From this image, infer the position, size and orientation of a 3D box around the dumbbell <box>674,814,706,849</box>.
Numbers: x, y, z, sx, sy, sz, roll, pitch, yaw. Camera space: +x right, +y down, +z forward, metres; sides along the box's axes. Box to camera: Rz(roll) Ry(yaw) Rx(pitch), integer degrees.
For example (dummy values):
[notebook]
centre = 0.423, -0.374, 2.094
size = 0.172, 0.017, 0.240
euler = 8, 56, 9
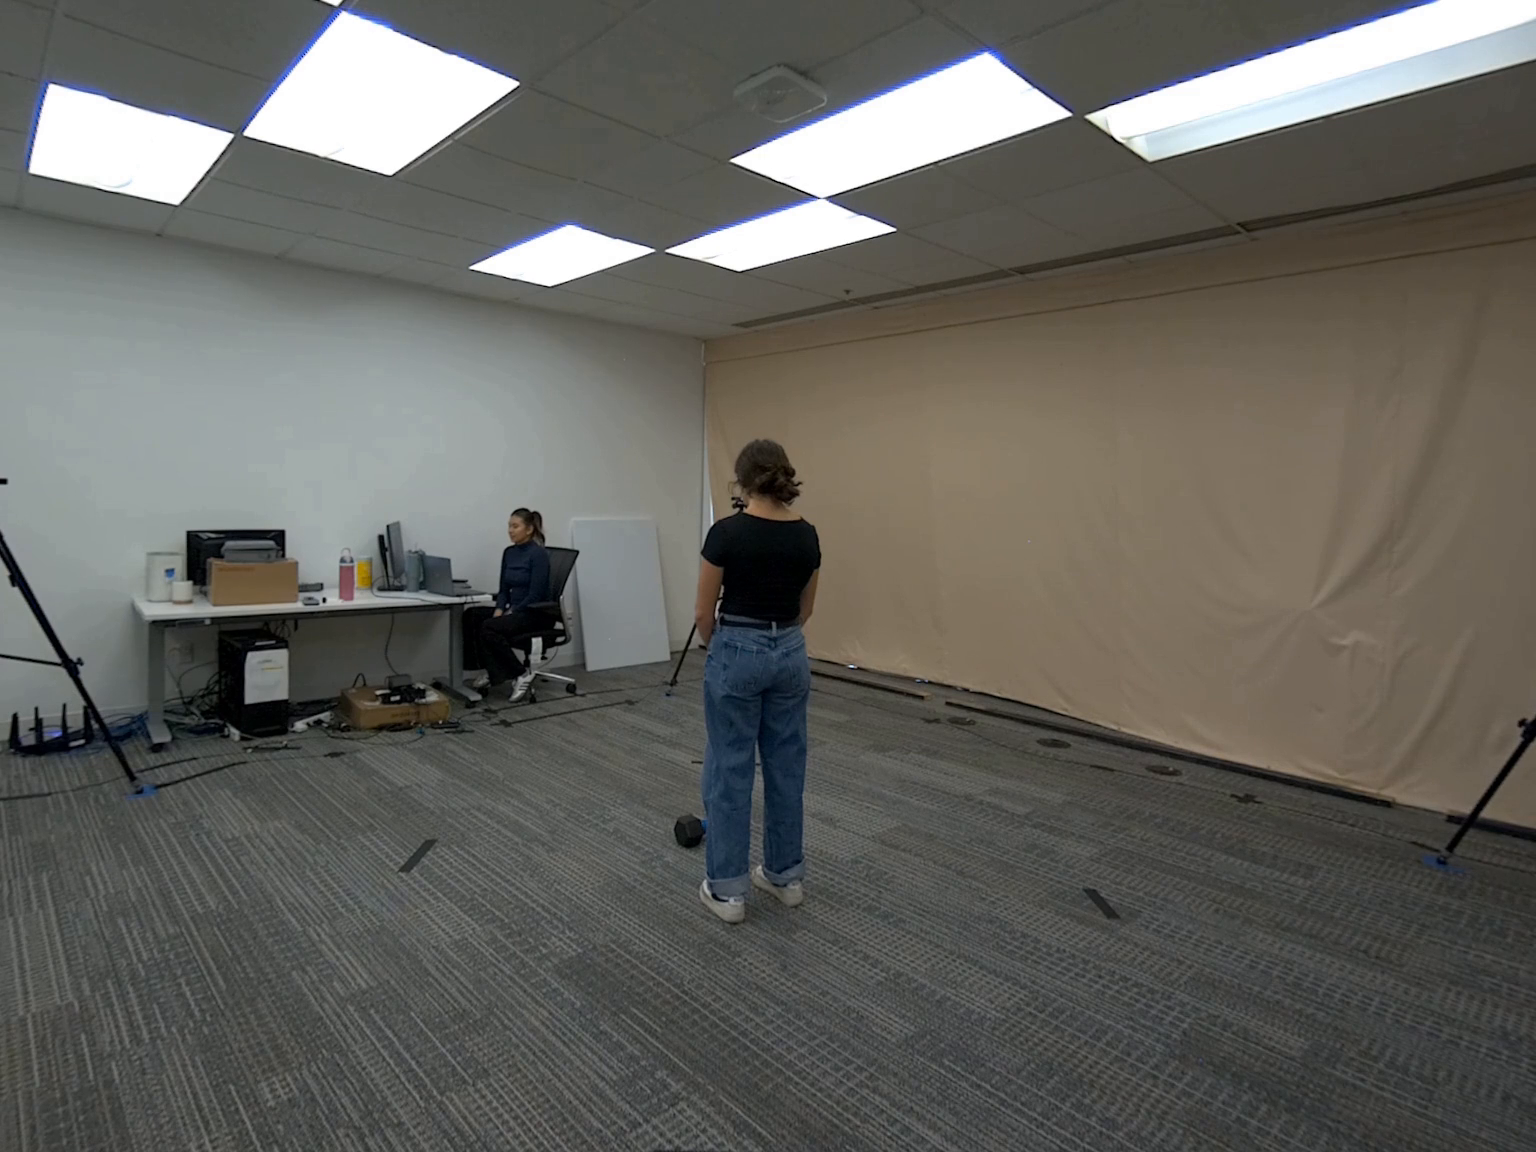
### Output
[dumbbell]
centre = -0.246, 1.021, 3.444
size = 0.287, 0.125, 0.109
euler = -3, -25, -39
